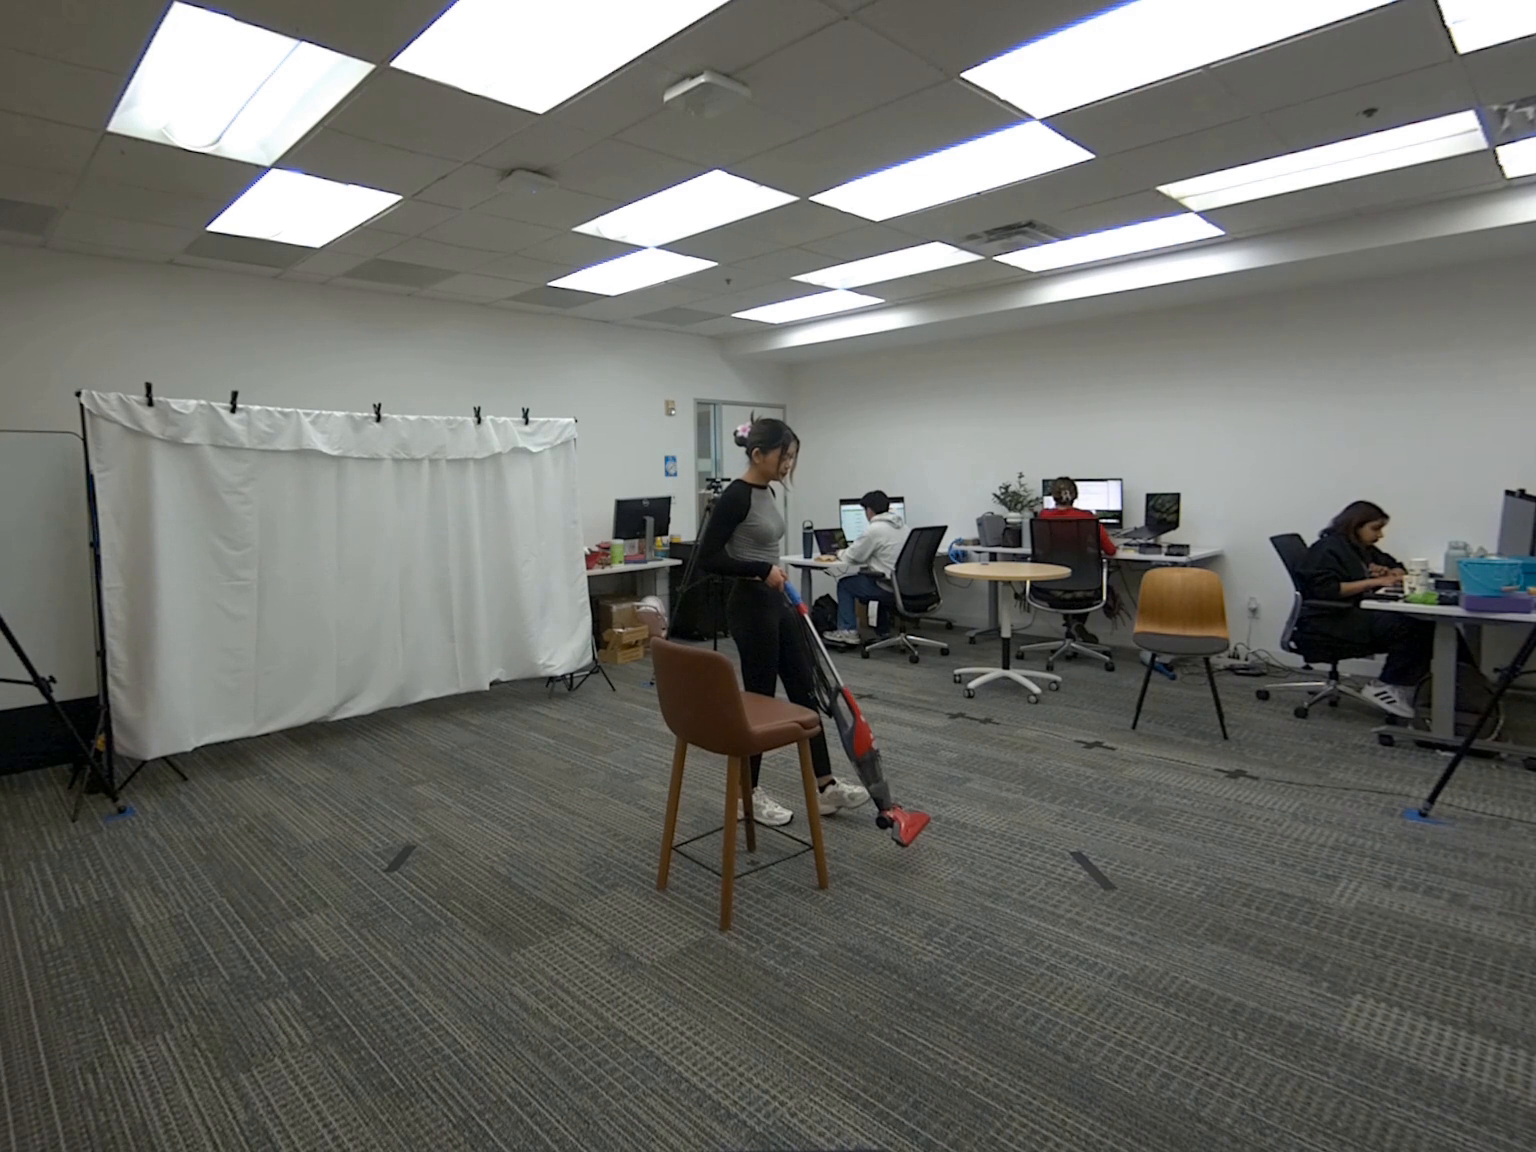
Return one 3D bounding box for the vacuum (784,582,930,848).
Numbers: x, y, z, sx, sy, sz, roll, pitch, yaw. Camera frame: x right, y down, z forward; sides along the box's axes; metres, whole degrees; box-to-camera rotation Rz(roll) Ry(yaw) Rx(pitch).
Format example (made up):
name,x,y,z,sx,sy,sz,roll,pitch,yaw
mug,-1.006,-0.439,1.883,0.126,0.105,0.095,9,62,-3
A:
name,x,y,z,sx,sy,sz,roll,pitch,yaw
vacuum,0.269,0.439,3.166,0.145,1.063,0.247,-30,-11,26
